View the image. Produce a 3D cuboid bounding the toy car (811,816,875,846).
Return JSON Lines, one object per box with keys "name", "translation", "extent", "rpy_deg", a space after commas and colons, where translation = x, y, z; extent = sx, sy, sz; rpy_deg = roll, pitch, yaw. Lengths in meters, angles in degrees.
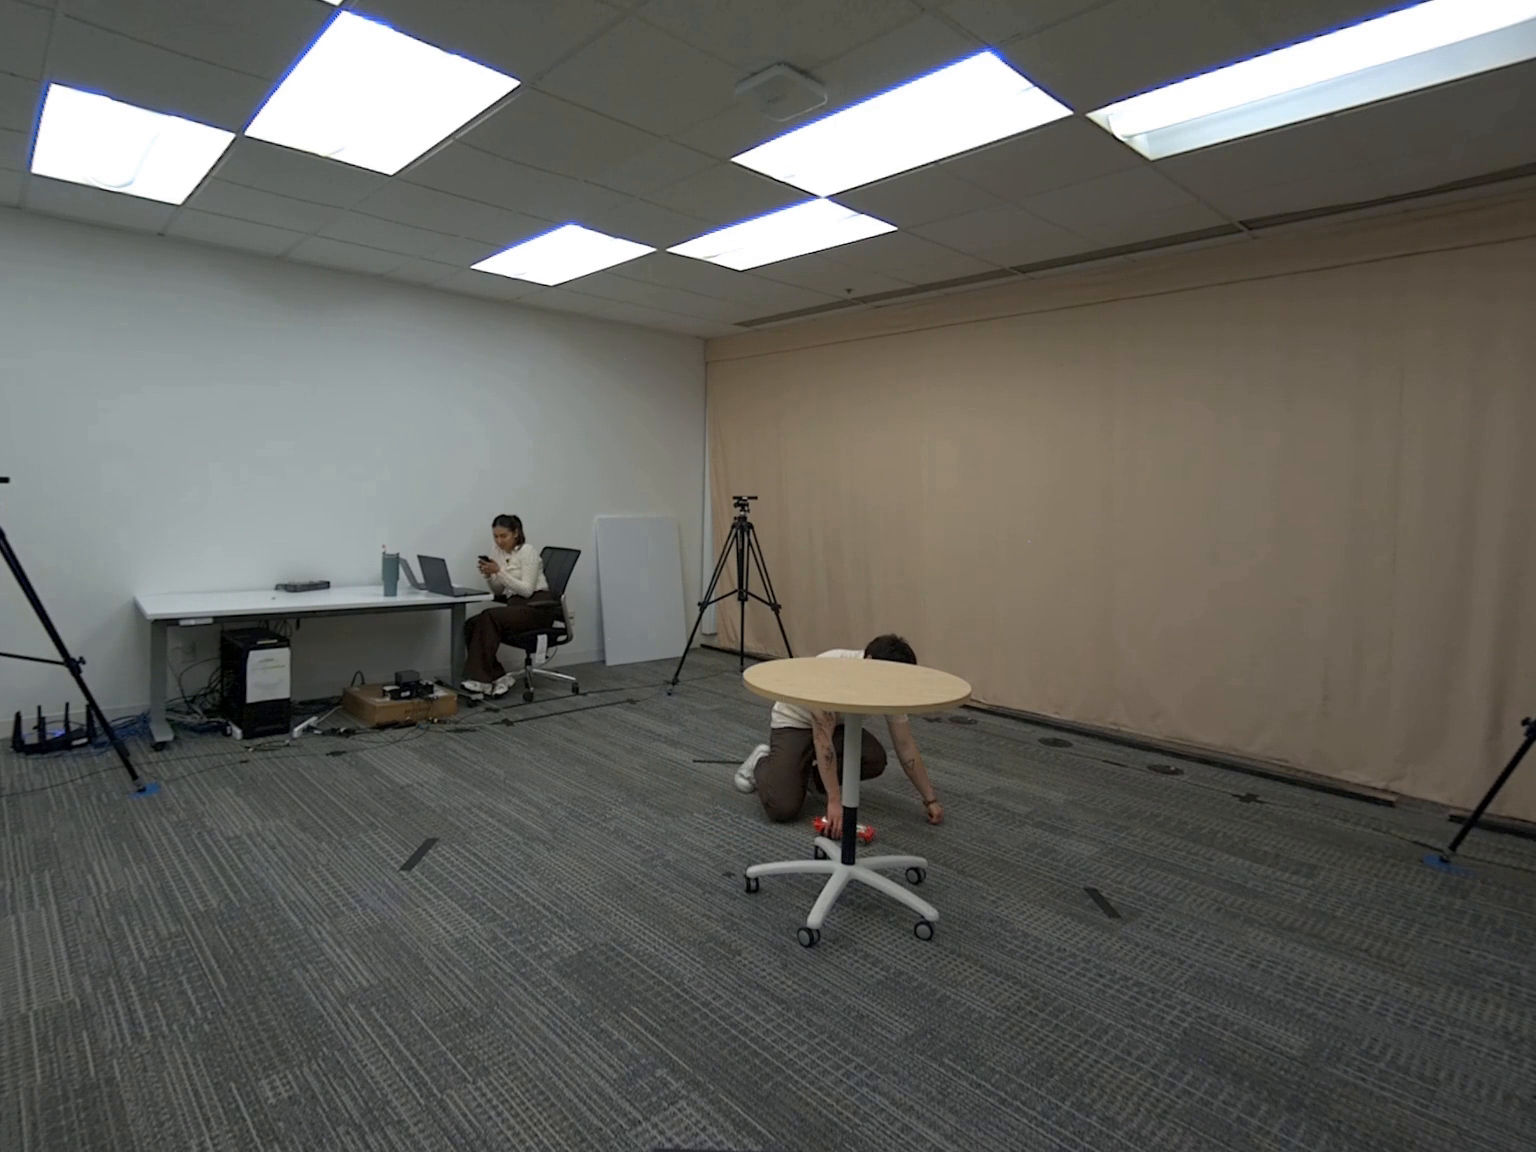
{"name": "toy car", "translation": [0.301, 1.055, 3.487], "extent": [0.260, 0.083, 0.128], "rpy_deg": [17, 11, 22]}
